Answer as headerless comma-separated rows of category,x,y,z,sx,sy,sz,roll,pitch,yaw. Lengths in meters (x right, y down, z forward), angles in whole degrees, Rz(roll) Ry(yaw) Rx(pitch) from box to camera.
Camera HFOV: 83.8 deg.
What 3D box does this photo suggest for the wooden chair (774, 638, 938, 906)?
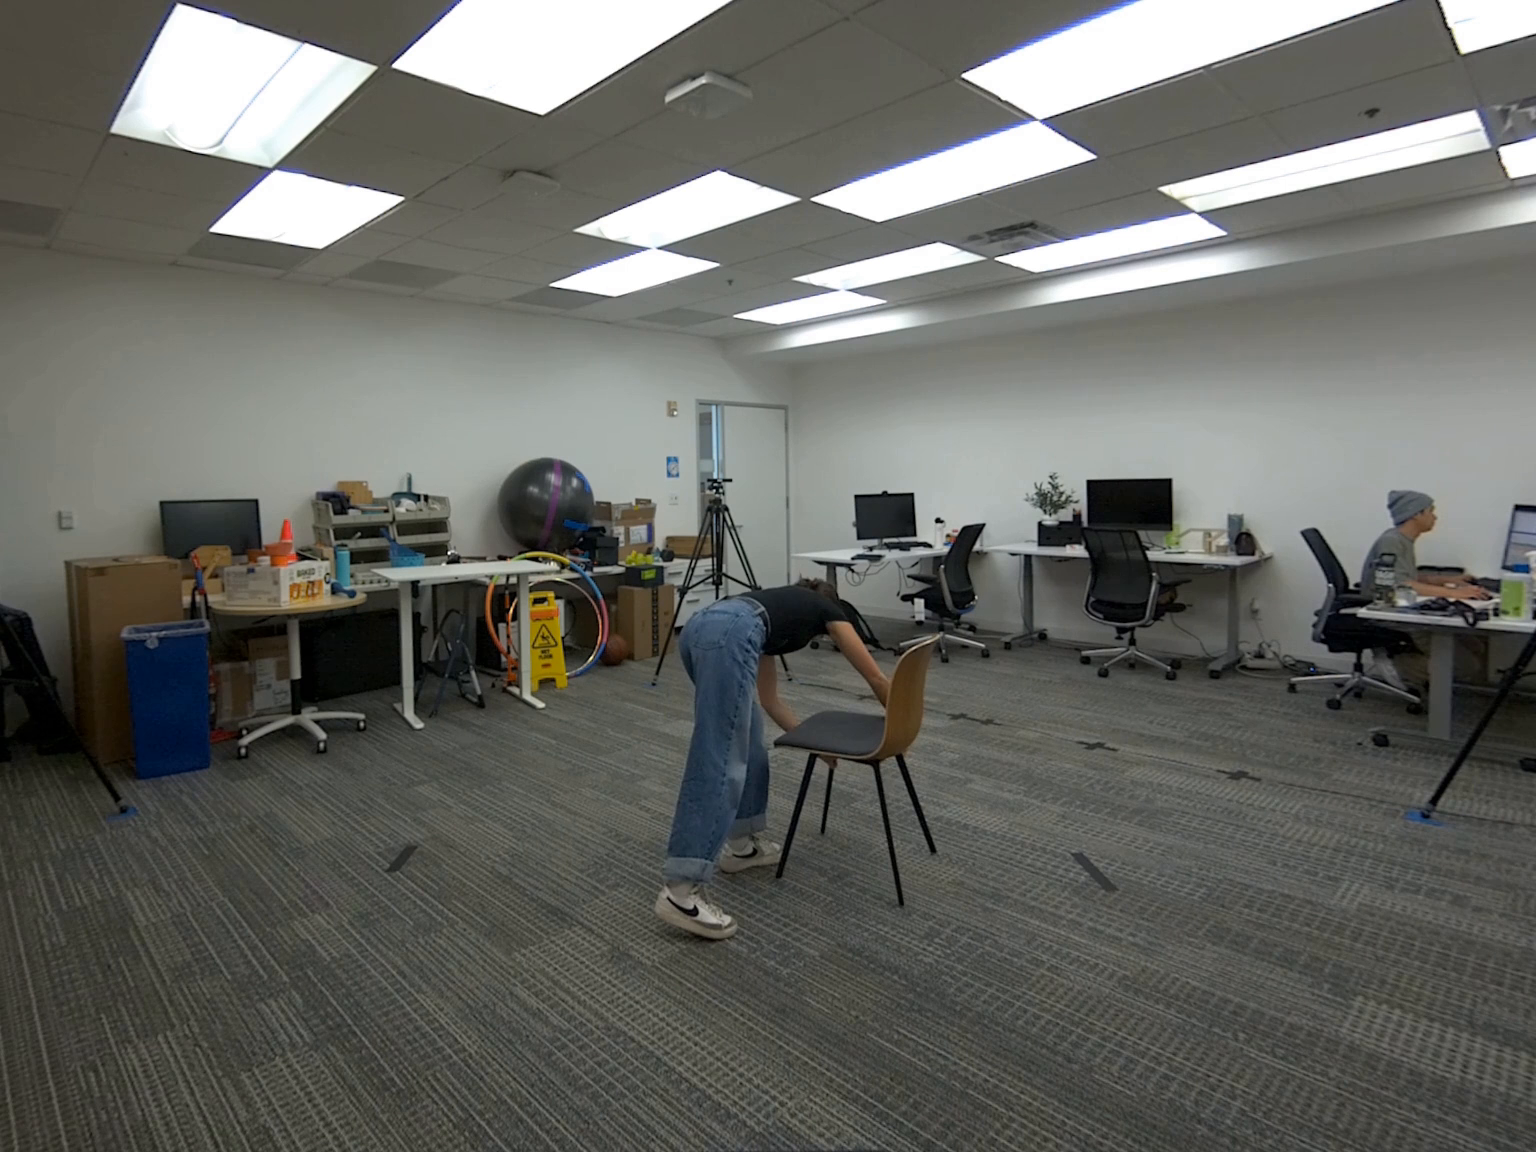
wooden chair,0.304,0.609,3.037,0.537,0.872,0.469,6,8,26
